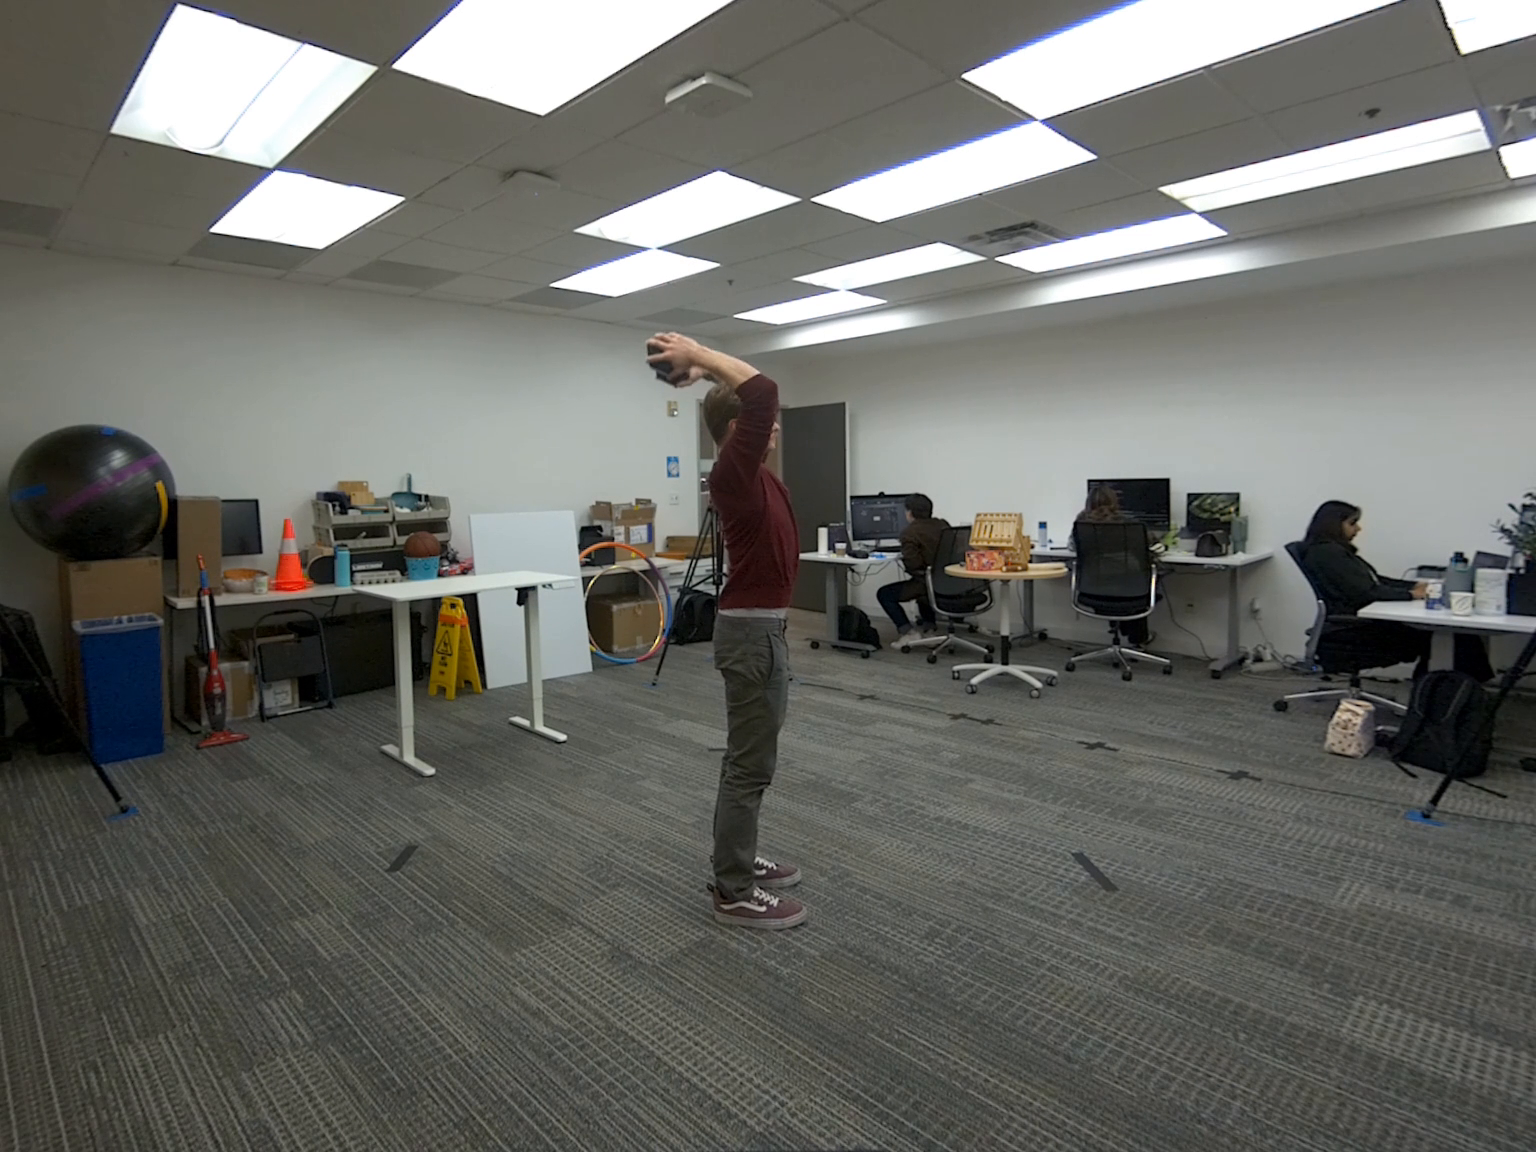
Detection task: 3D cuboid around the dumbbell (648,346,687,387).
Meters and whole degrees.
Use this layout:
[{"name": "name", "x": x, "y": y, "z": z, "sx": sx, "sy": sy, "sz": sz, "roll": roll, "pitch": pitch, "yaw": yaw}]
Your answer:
[{"name": "dumbbell", "x": -0.295, "y": -0.693, "z": 2.756, "sx": 0.123, "sy": 0.109, "sz": 0.292, "roll": -38, "pitch": 0, "yaw": 6}]
